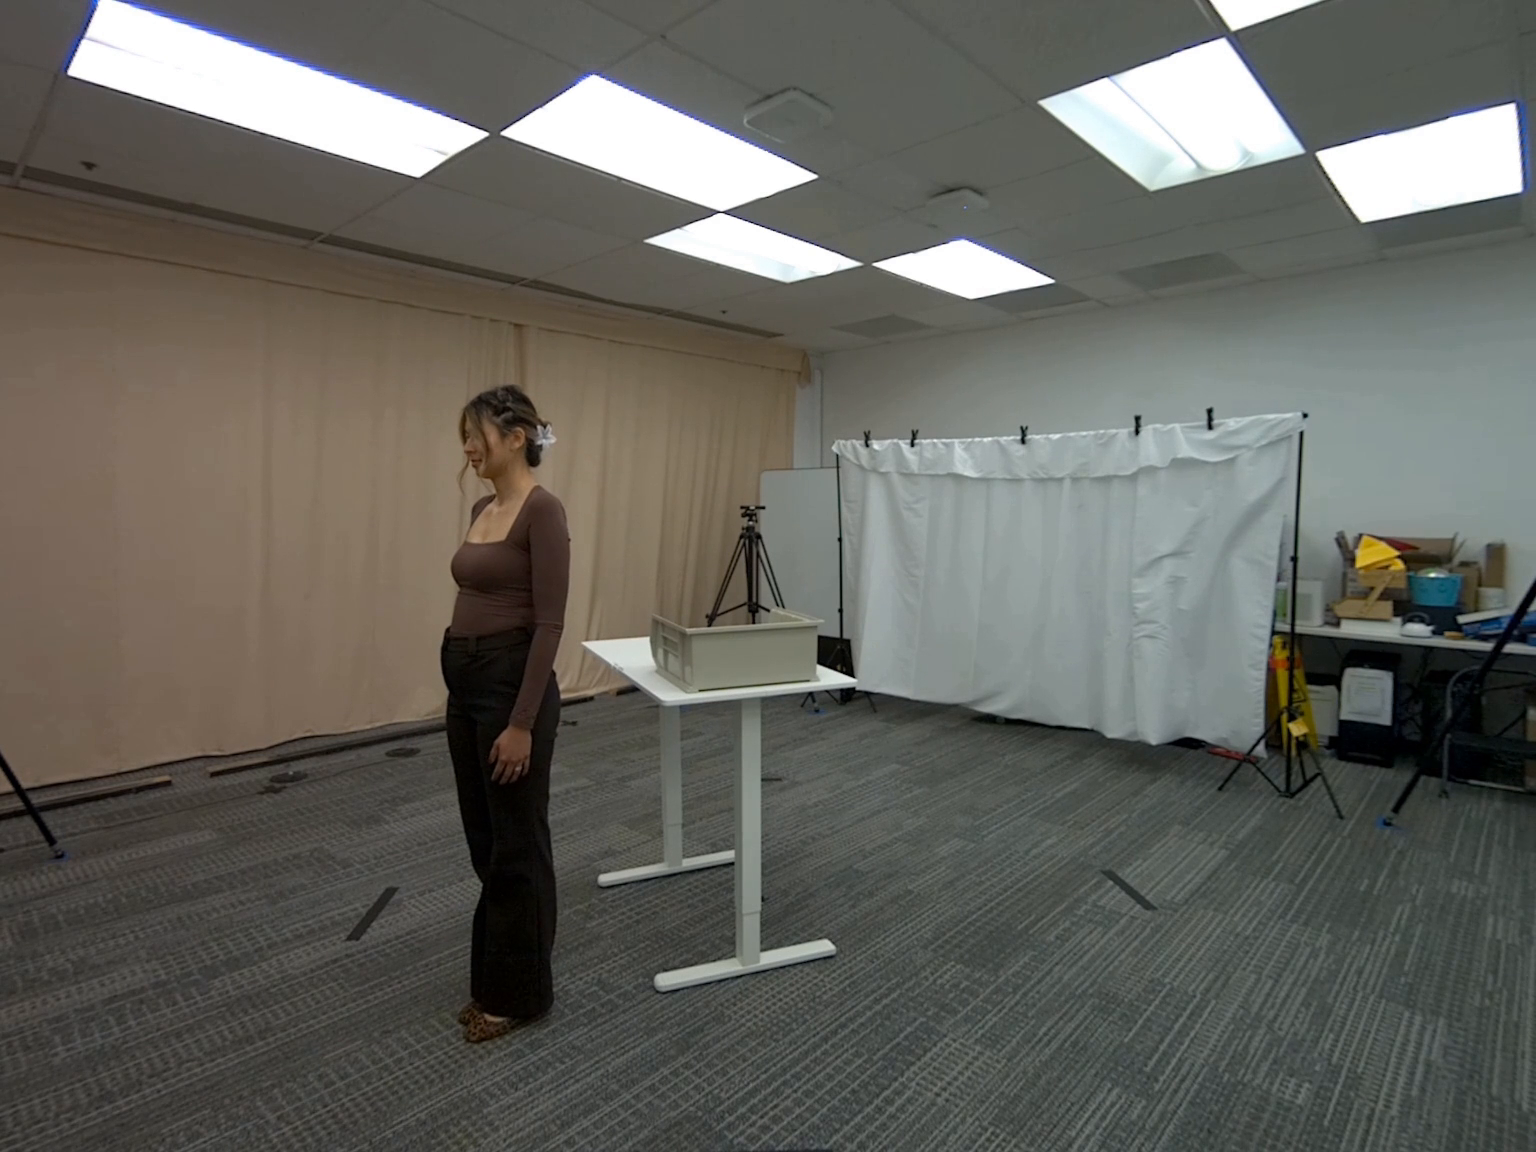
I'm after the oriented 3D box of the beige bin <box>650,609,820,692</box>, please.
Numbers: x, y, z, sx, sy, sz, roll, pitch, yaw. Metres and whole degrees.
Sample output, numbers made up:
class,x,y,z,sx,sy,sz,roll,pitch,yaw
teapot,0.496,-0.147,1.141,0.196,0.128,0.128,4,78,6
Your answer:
class,x,y,z,sx,sy,sz,roll,pitch,yaw
beige bin,-0.105,0.214,2.539,0.413,0.188,0.387,-2,7,-23
